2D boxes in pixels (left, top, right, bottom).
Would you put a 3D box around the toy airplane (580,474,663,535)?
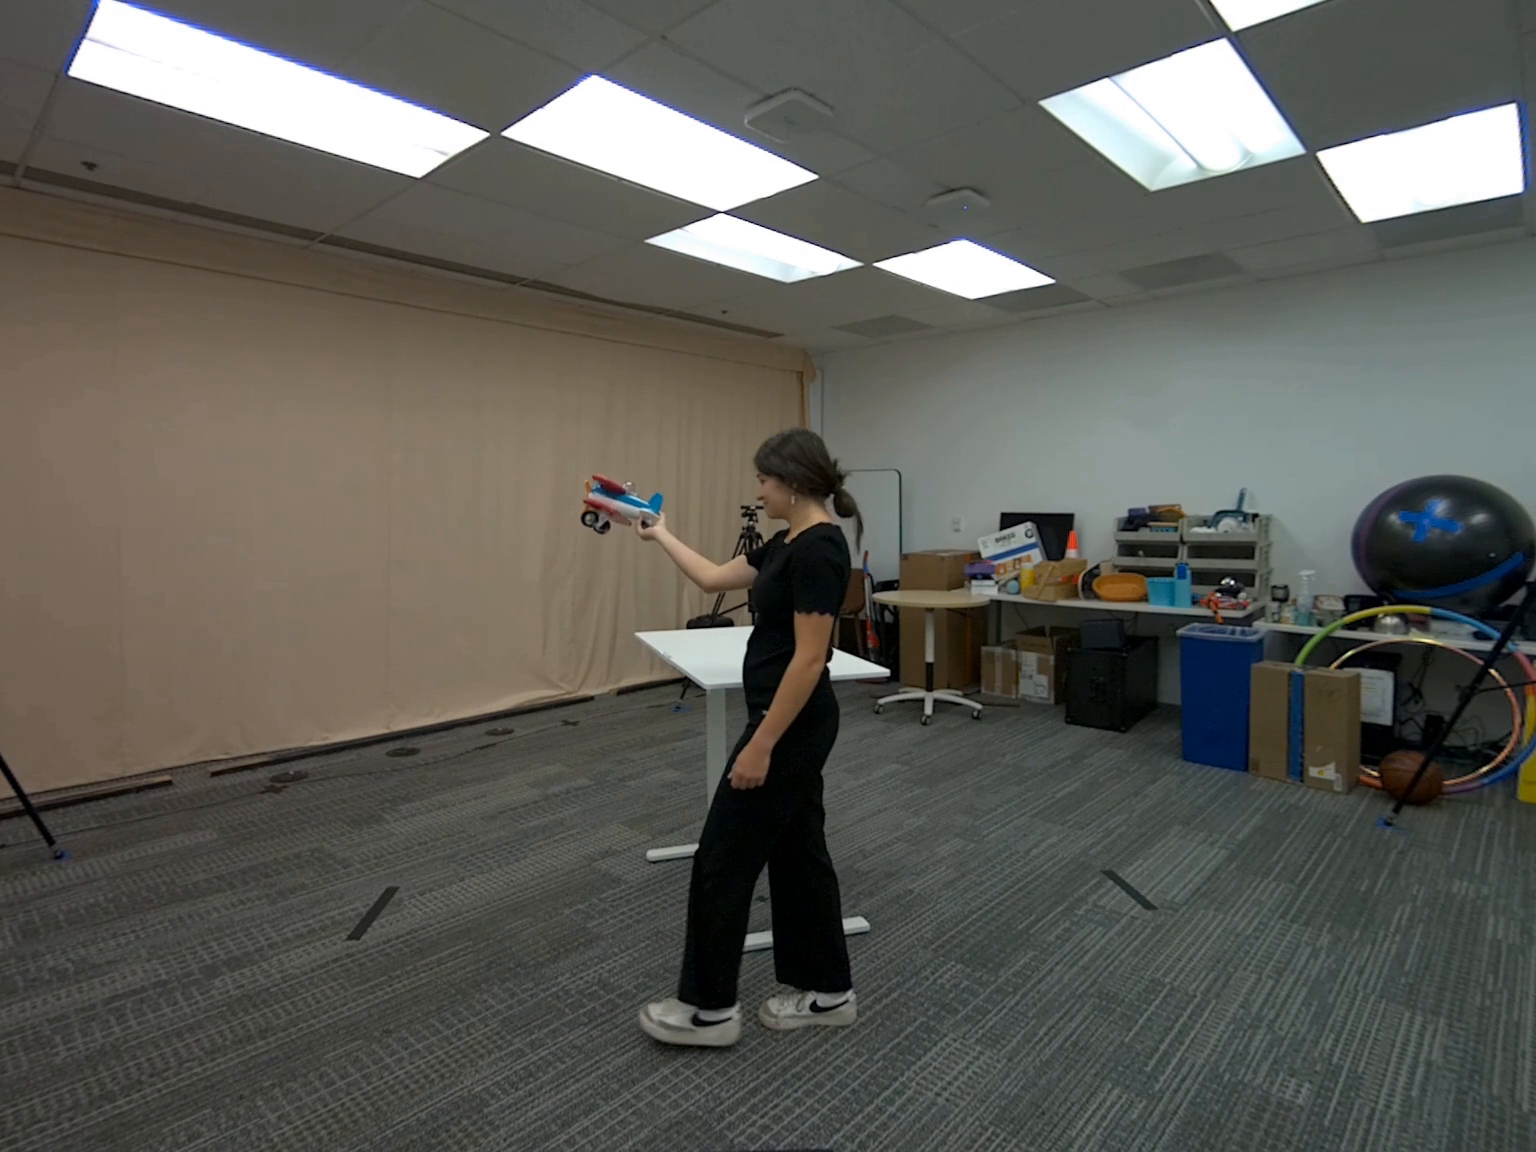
[{"bbox_3d":[-0.455,-0.212,2.666,0.256,0.157,0.252,9,-11,-10],"label":"toy airplane"}]
